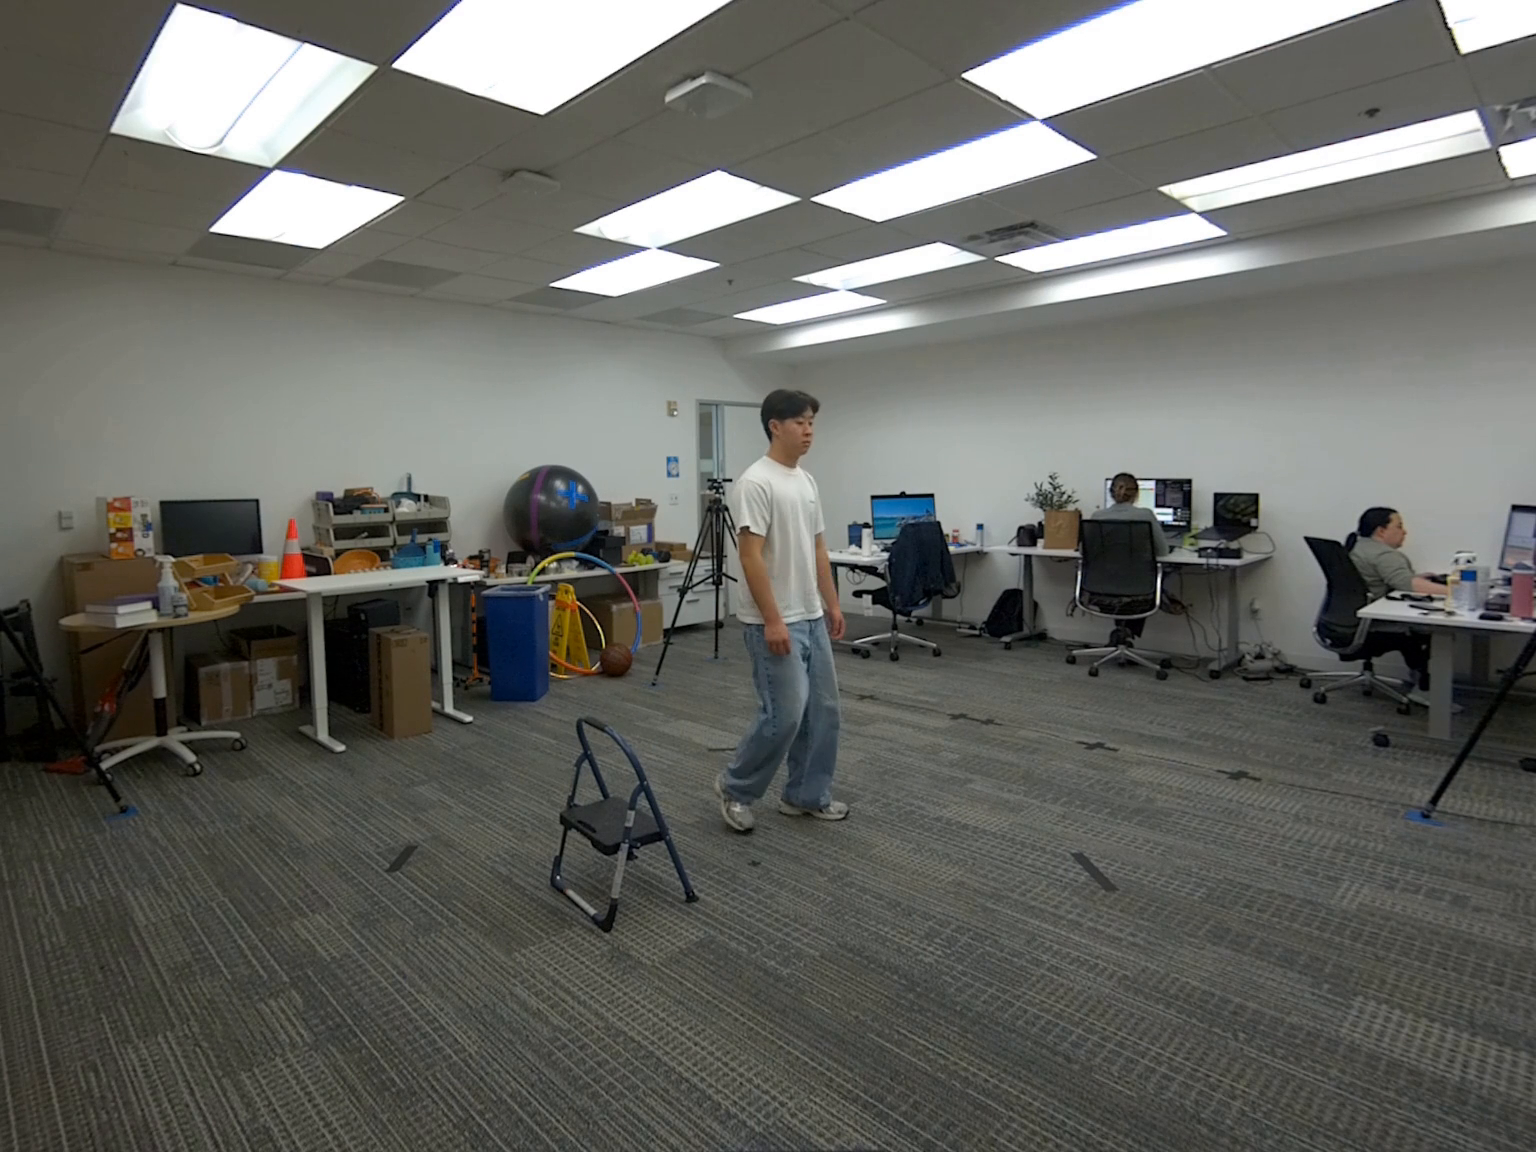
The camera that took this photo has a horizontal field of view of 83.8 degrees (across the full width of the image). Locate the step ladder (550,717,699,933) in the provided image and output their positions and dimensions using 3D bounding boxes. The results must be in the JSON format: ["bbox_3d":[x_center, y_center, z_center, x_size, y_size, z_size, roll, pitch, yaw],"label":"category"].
[{"bbox_3d":[-0.503,0.774,2.891,0.340,0.604,0.444,-5,6,-38],"label":"step ladder"}]
